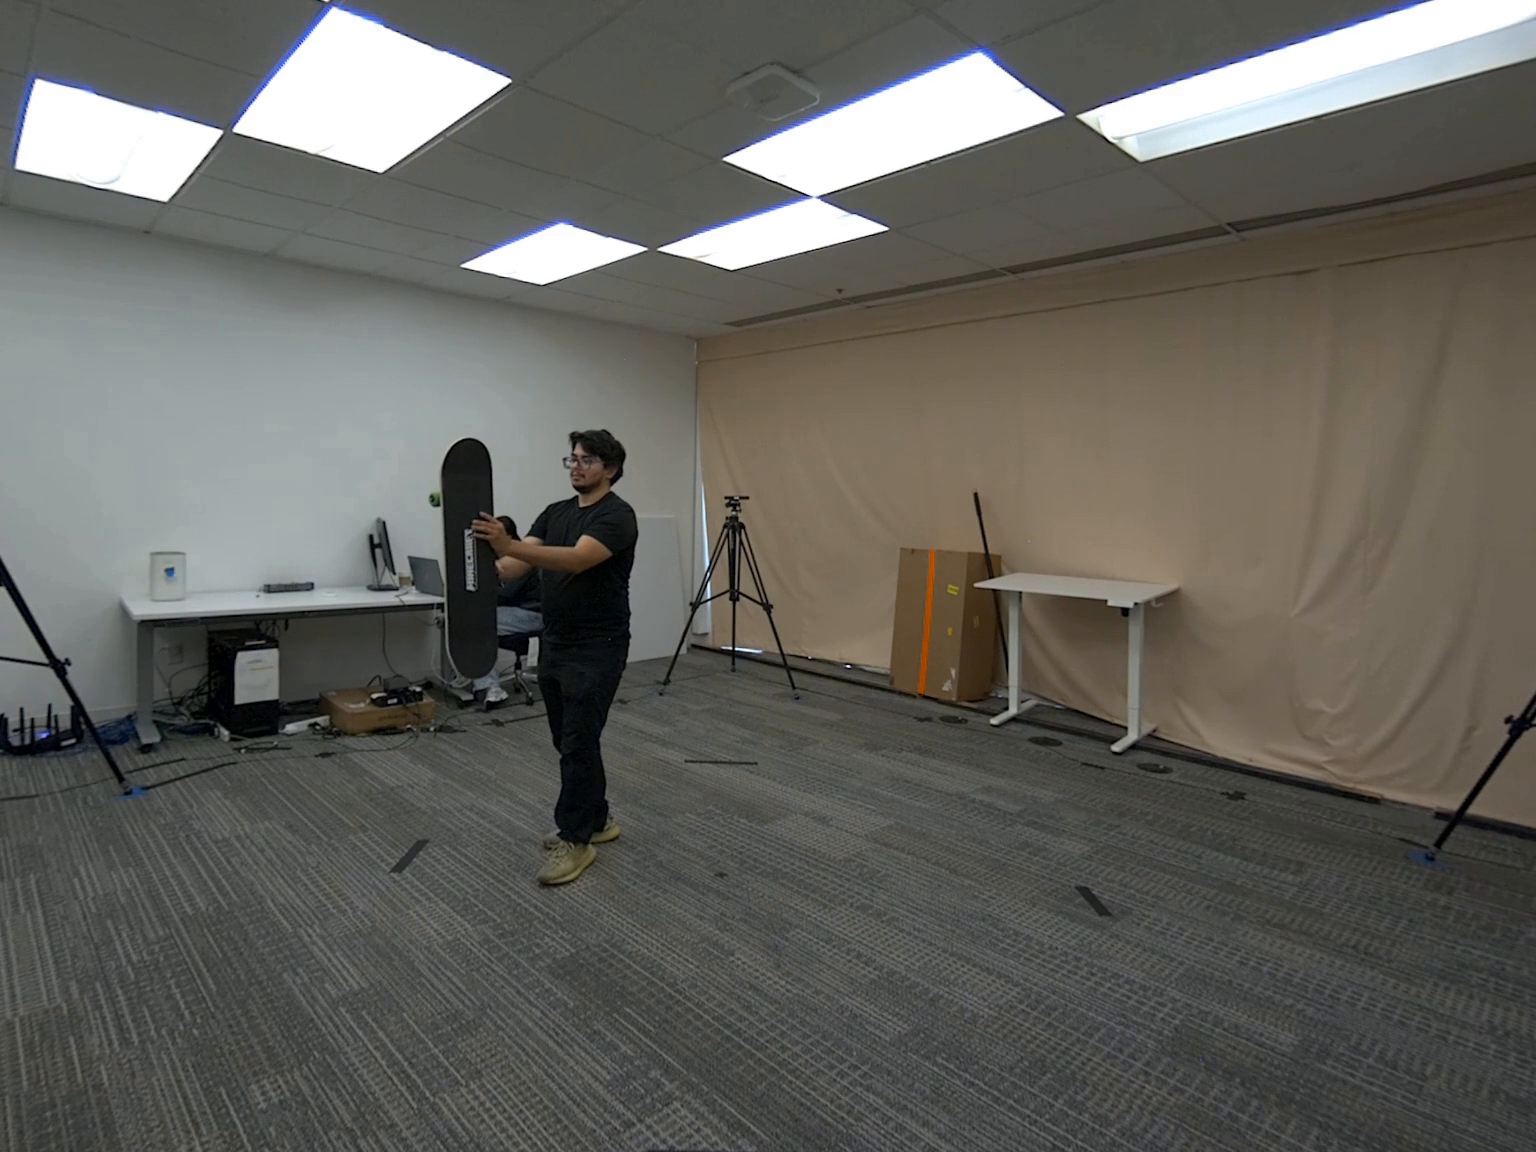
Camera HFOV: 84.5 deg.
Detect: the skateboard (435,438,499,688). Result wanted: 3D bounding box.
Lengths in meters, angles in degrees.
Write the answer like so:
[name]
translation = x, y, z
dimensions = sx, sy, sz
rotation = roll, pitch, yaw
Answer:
[skateboard]
translation = -0.997, -0.052, 2.766
dimensions = 0.113, 0.781, 0.189
rotation = 5, 8, 40
